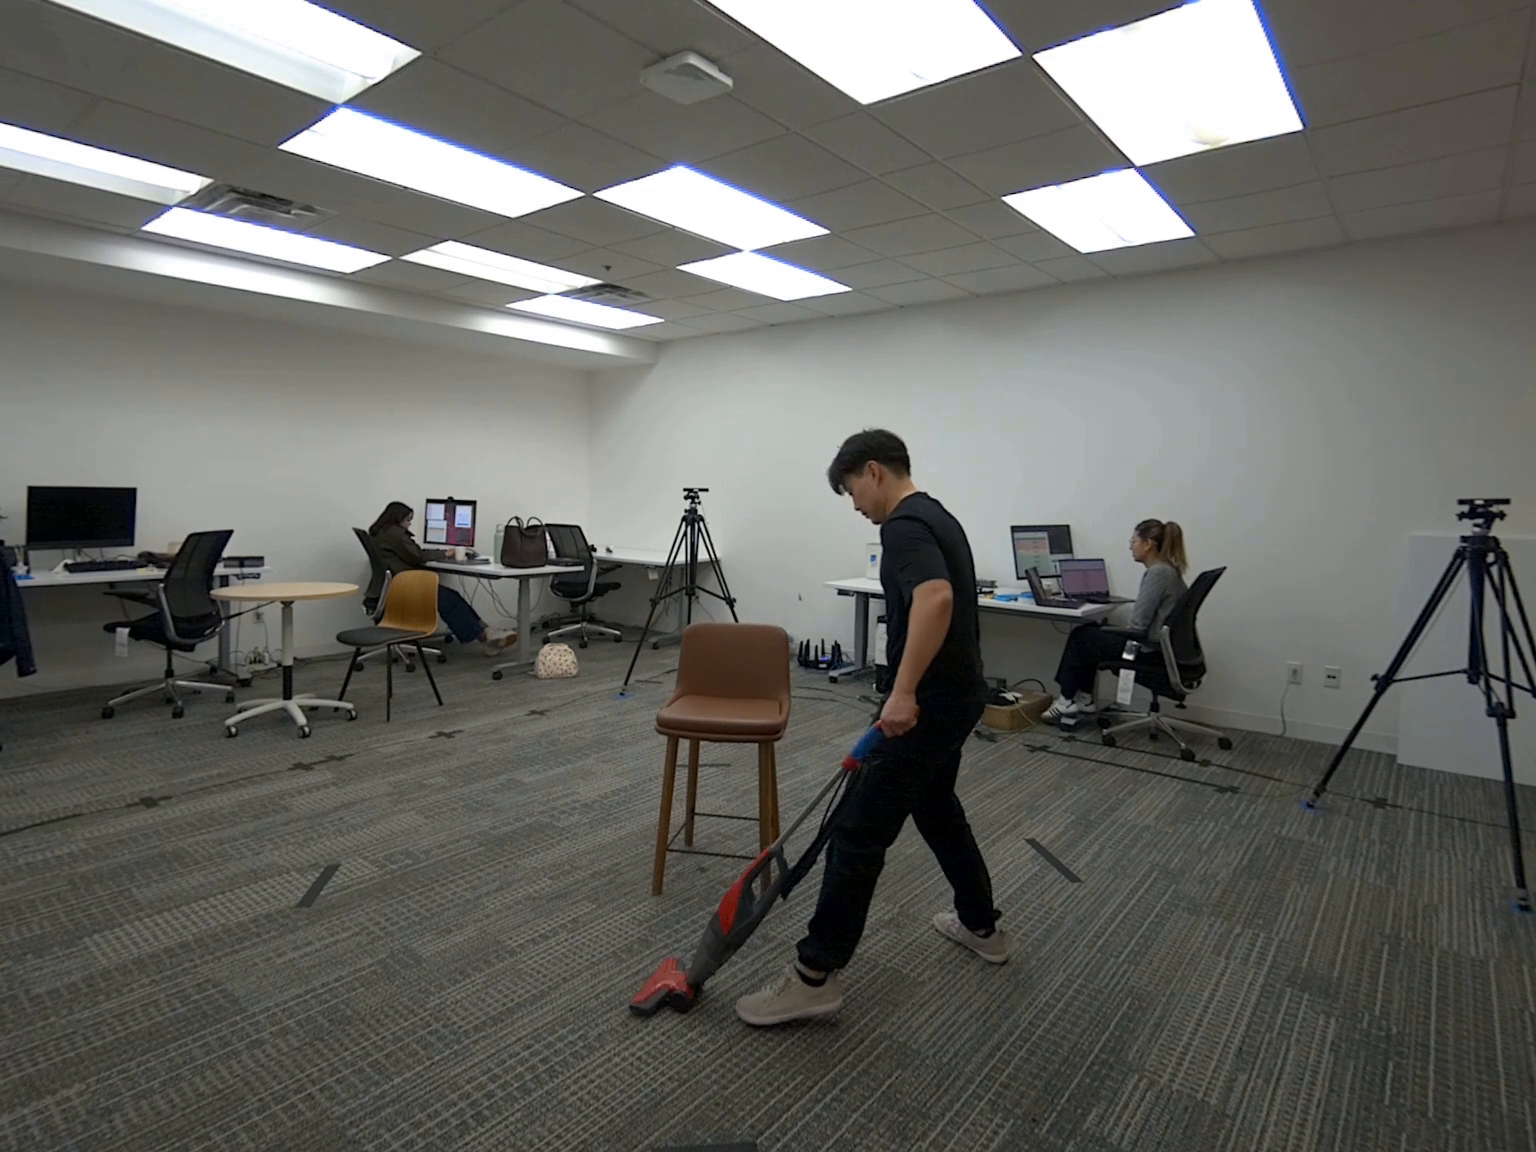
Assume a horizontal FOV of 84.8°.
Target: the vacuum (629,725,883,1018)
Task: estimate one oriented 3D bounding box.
[{"bbox_3d":[0.041,0.723,2.199,0.147,1.047,0.248,40,13,13],"label":"vacuum"}]
